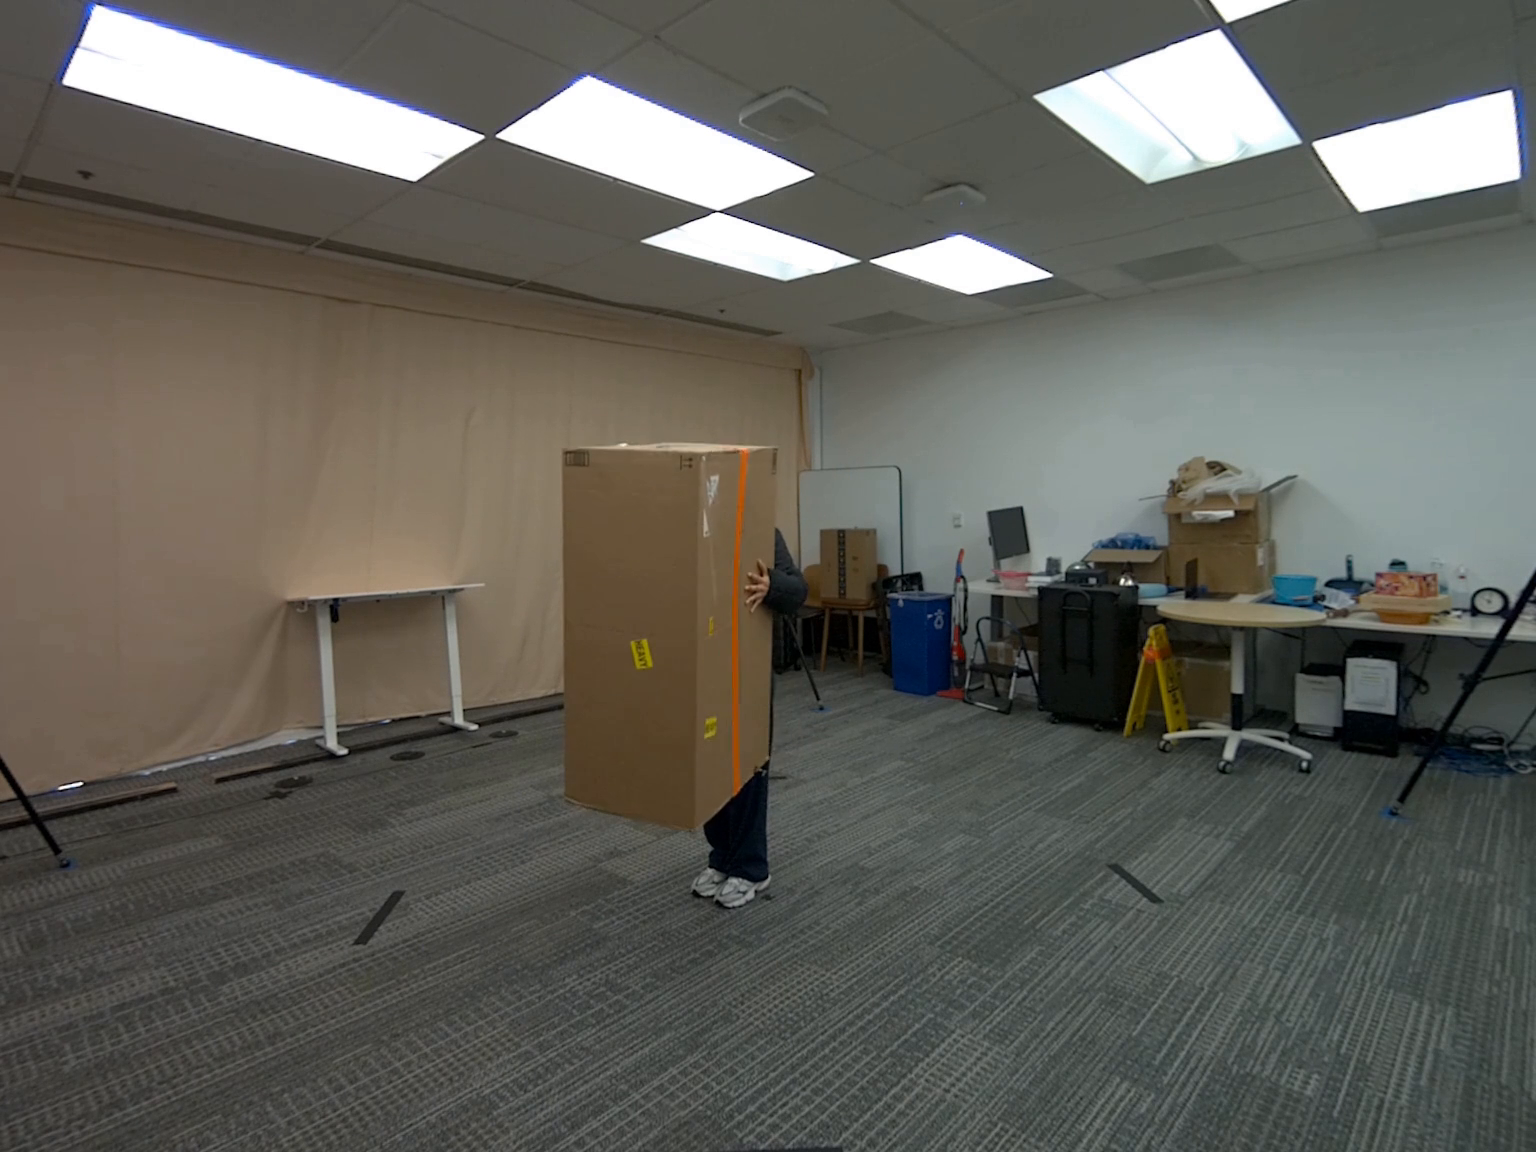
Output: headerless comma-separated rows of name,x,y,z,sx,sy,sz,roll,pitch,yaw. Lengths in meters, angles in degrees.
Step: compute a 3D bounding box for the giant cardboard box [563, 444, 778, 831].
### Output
giant cardboard box,-0.265,0.126,2.530,0.437,1.020,0.567,5,9,22
